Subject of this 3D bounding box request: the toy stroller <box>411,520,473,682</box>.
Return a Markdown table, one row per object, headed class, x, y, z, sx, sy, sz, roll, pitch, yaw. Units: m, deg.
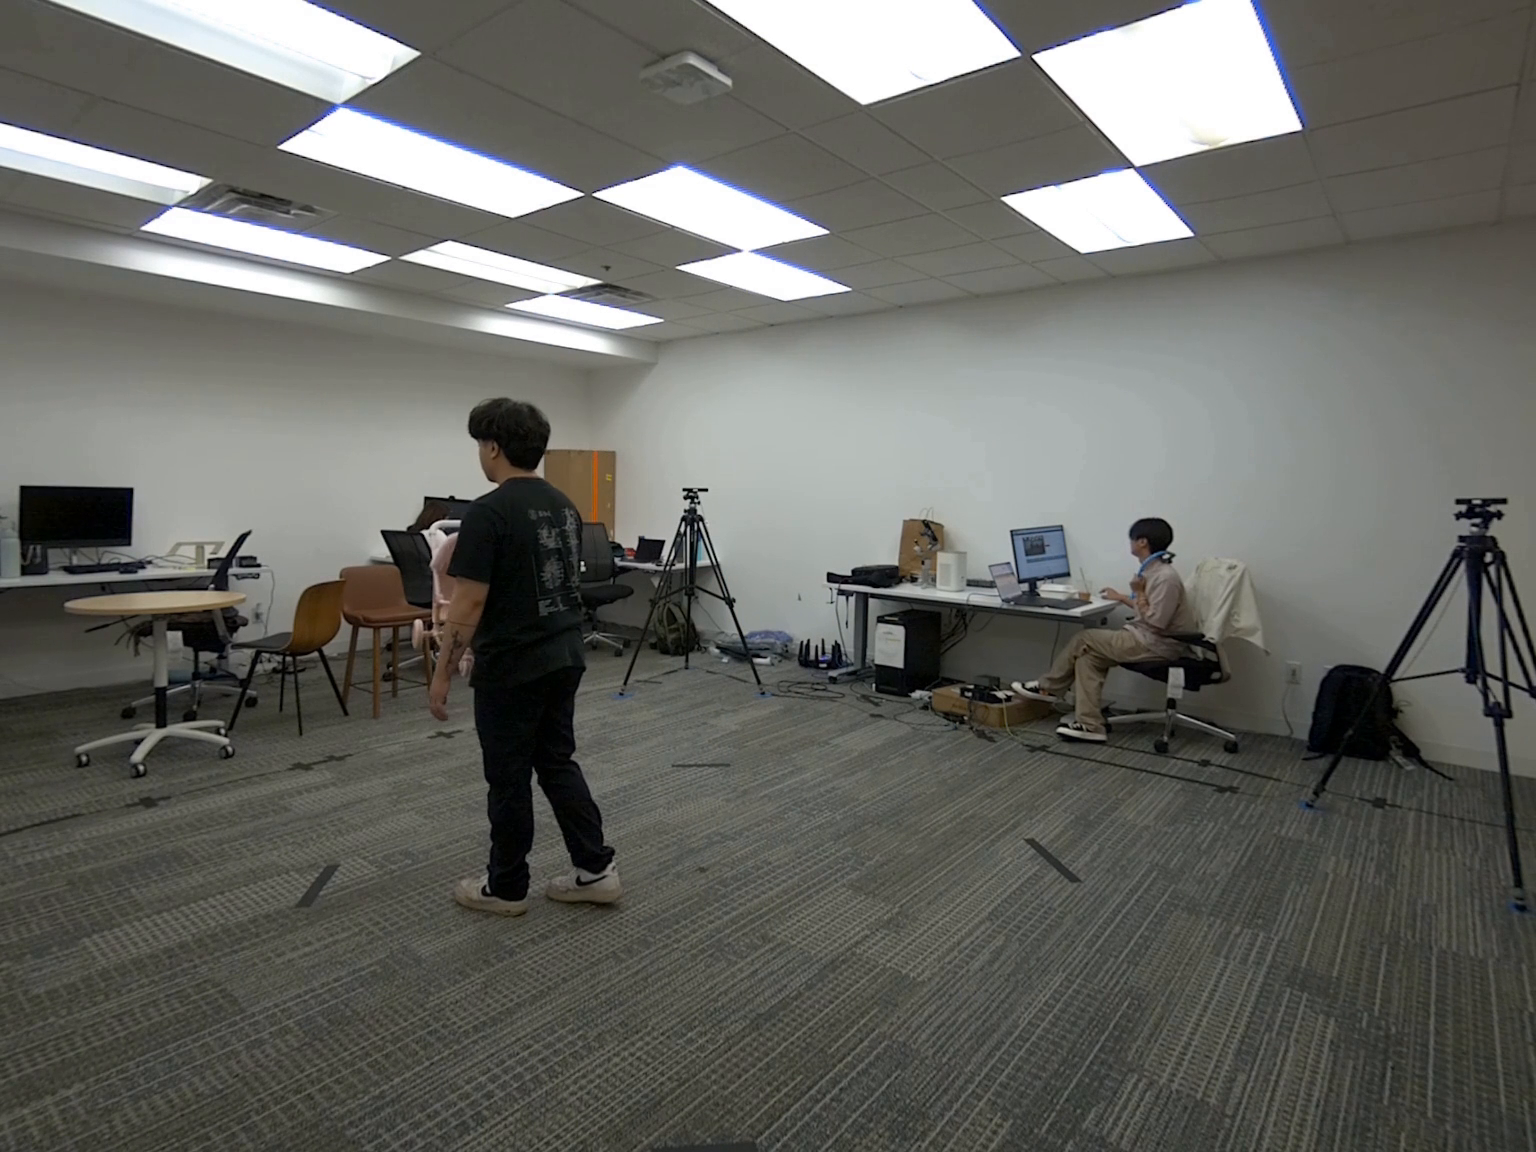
| class | x | y | z | sx | sy | sz | roll | pitch | yaw |
| --- | --- | --- | --- | --- | --- | --- | --- | --- | --- |
| toy stroller | -1.126 | 0.074 | 3.090 | 0.274 | 0.534 | 0.351 | 3 | 3 | -27 |
